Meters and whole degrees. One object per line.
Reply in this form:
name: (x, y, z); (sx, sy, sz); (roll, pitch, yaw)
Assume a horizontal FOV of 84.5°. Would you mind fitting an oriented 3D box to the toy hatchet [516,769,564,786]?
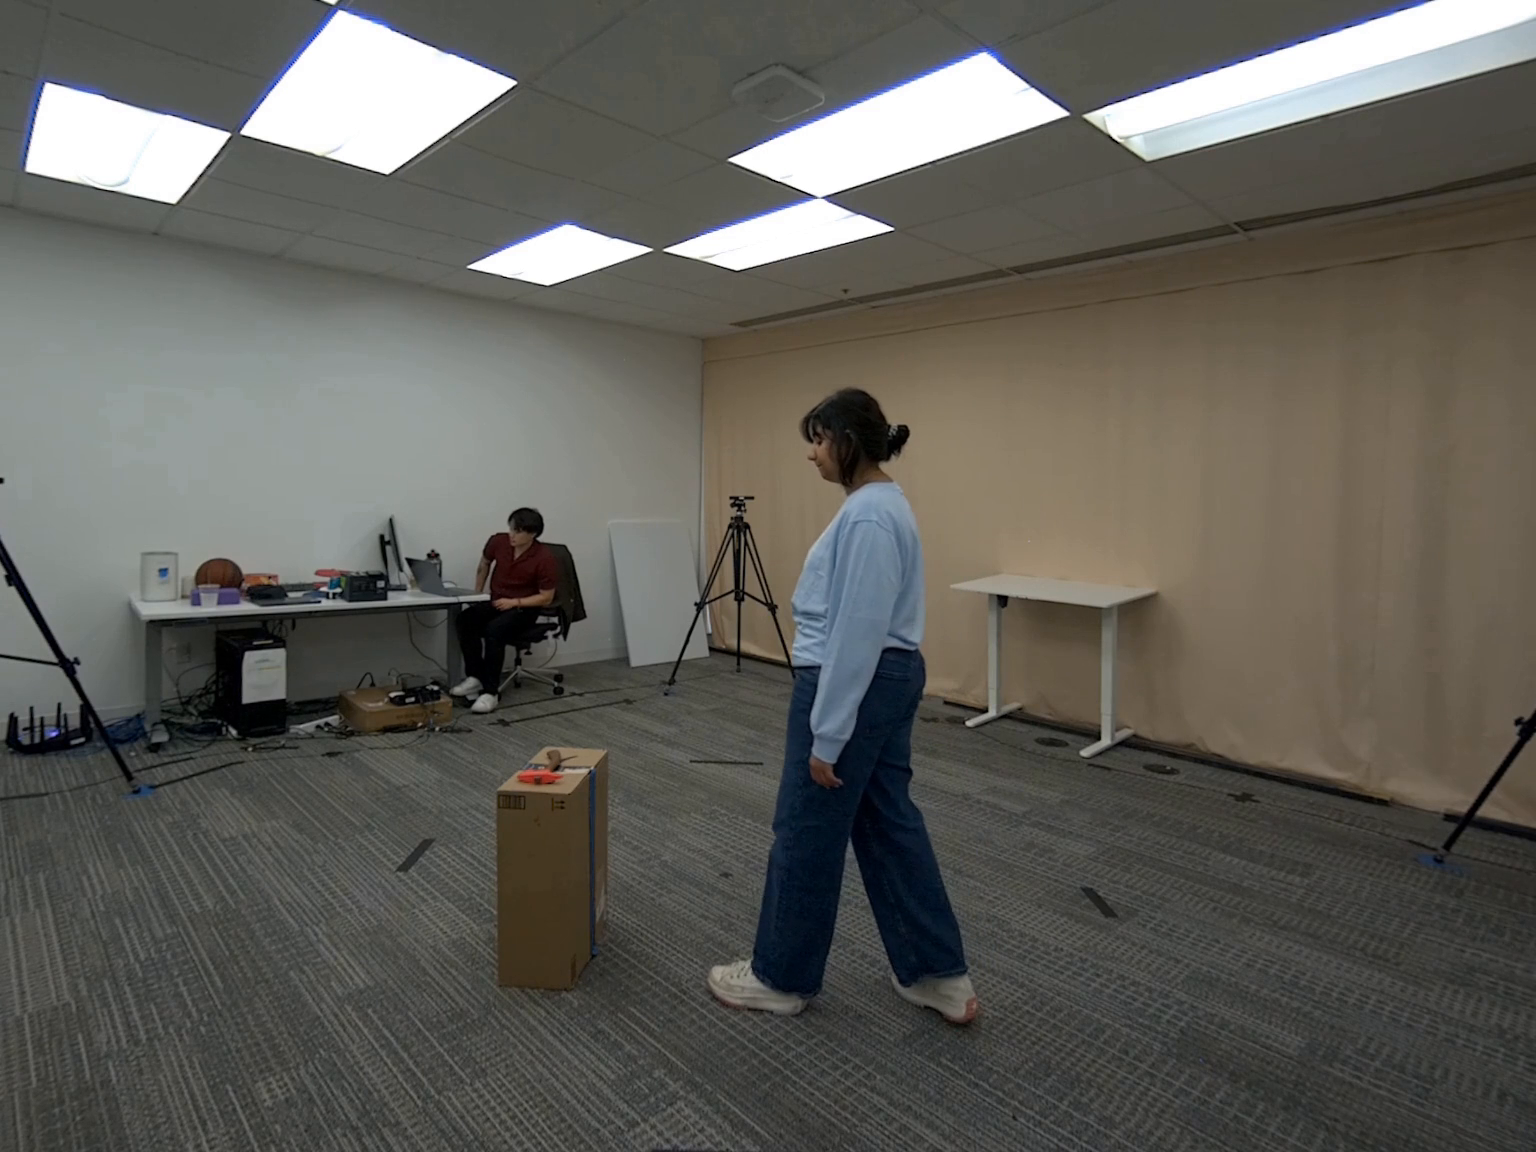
toy hatchet: (-0.685, 0.570, 2.530); (0.130, 0.029, 0.273); (-6, 5, -14)
